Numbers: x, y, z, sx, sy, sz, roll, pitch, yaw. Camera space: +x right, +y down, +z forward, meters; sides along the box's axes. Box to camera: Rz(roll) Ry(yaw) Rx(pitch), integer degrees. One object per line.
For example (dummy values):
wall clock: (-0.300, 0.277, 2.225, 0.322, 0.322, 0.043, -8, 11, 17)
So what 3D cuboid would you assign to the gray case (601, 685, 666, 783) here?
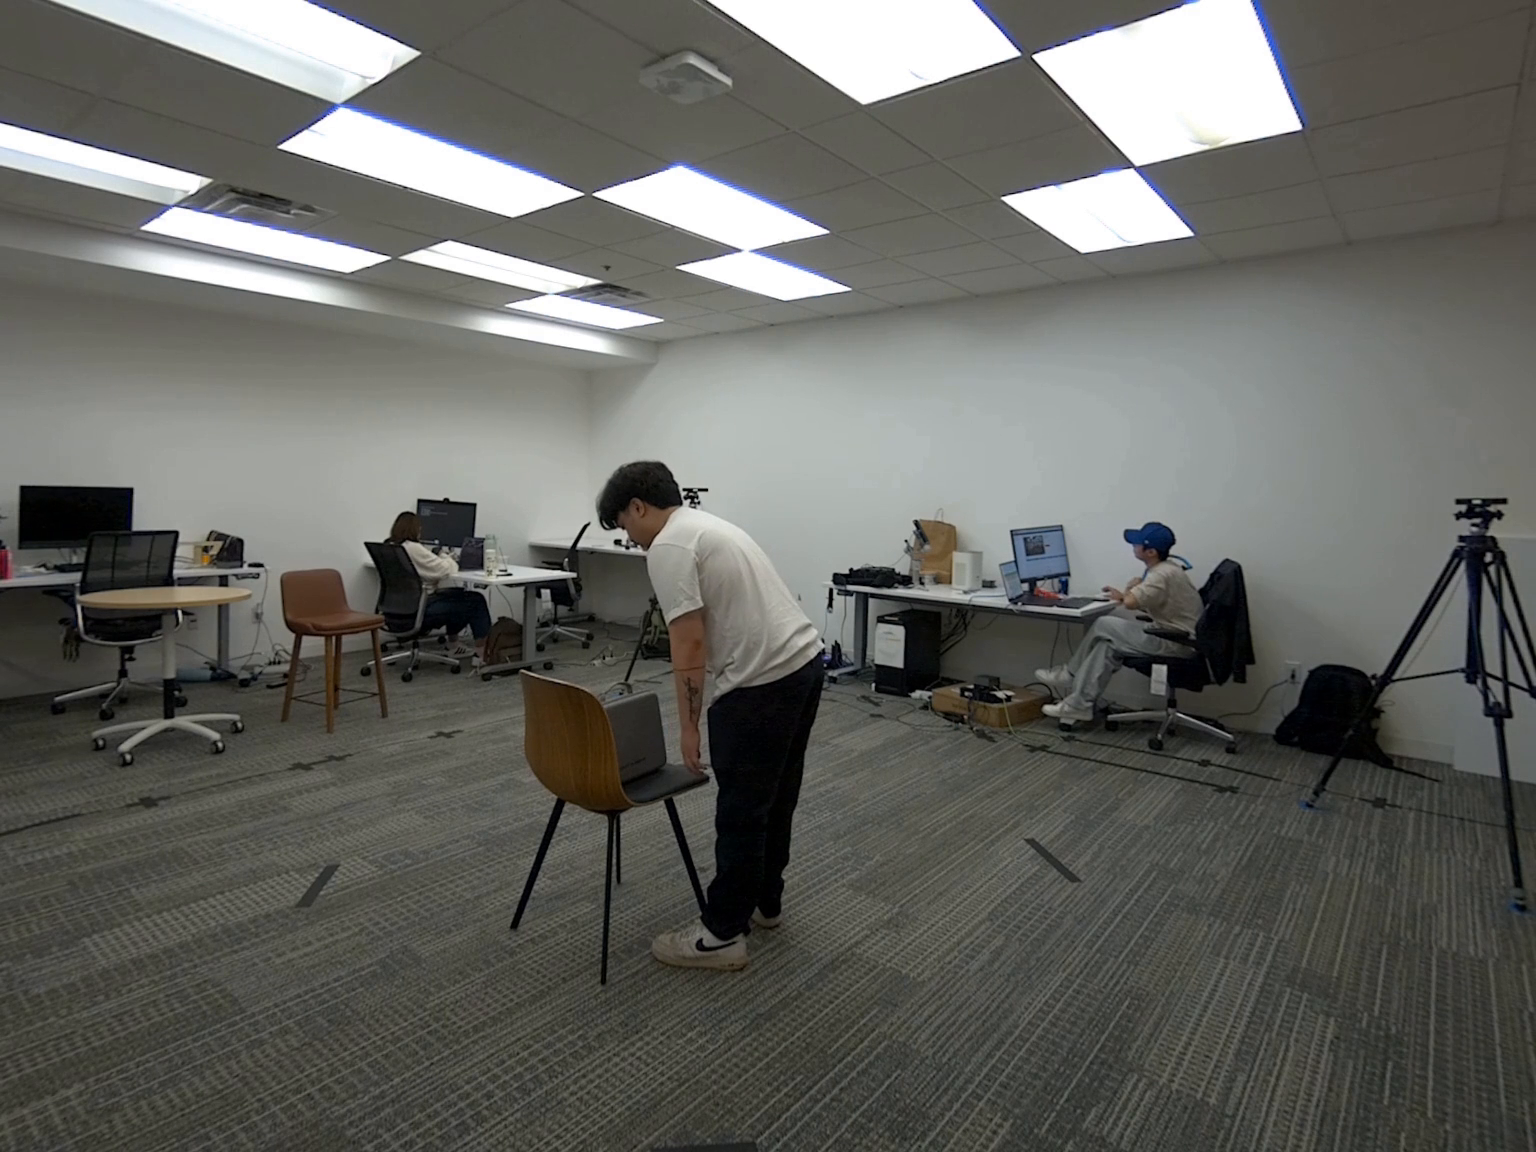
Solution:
gray case: (-0.458, 0.501, 2.690, 0.107, 0.261, 0.250, -10, -1, 43)
